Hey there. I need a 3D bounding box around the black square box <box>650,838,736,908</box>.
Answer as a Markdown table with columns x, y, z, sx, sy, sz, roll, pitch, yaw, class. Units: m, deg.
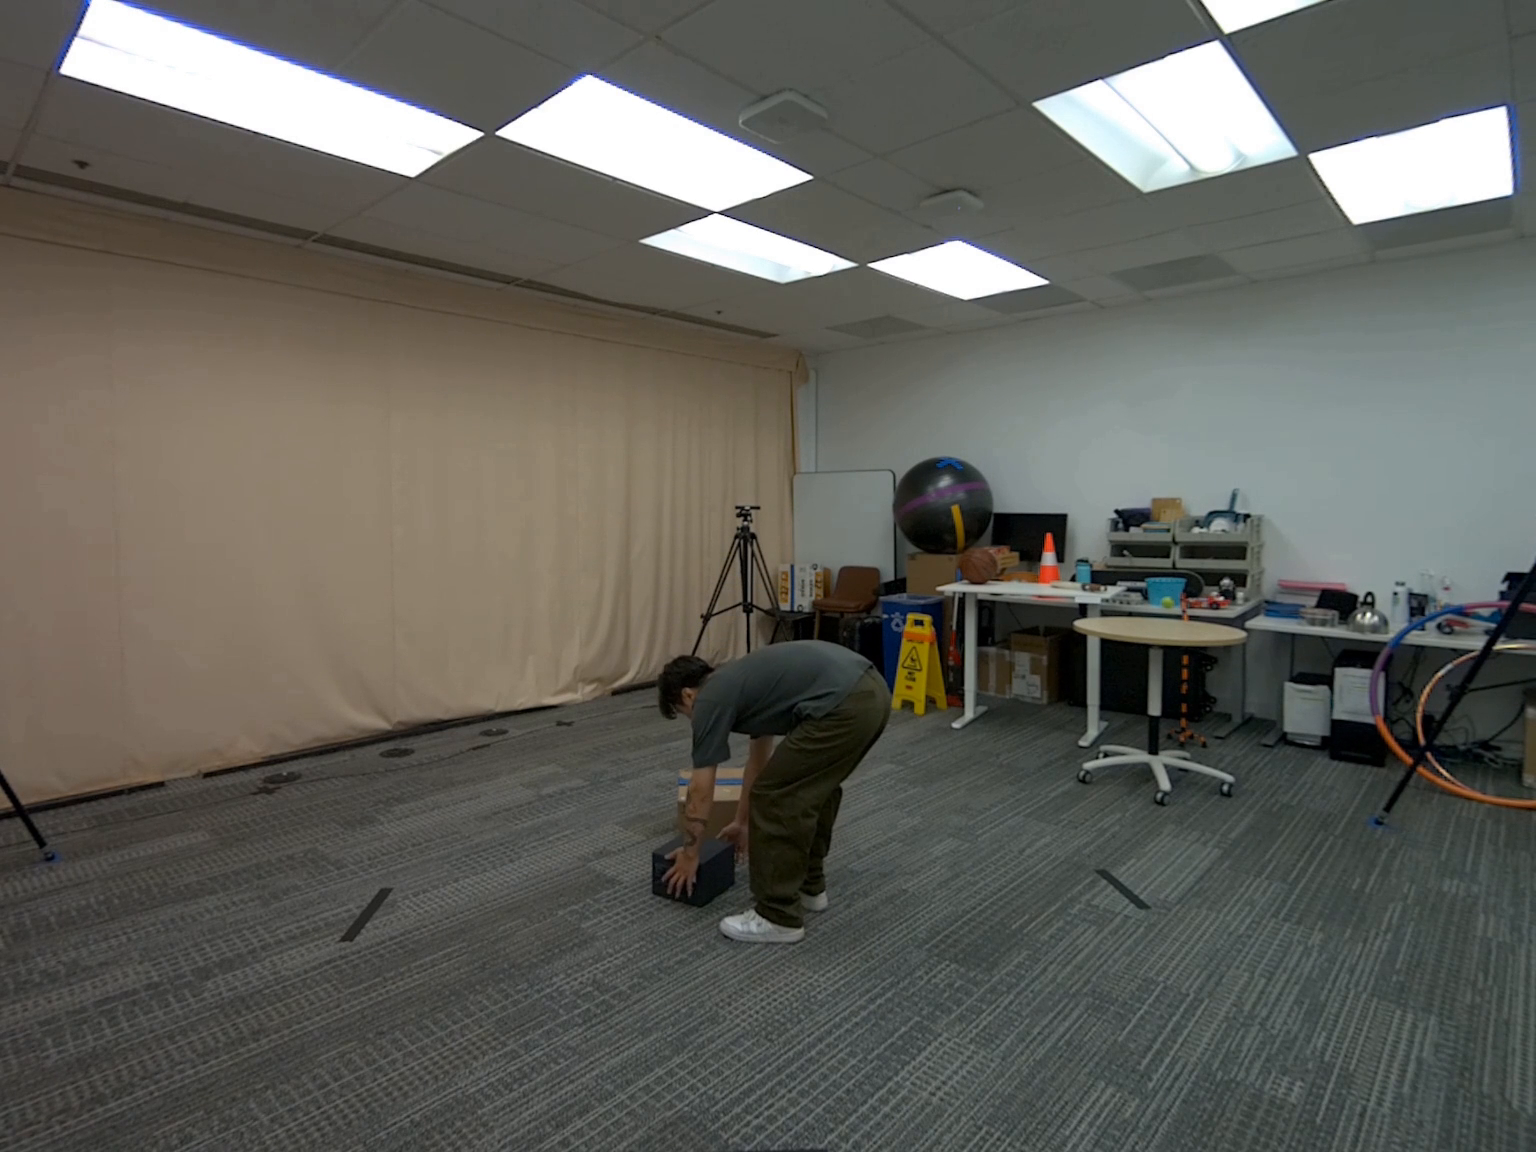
| x | y | z | sx | sy | sz | roll | pitch | yaw | class |
| --- | --- | --- | --- | --- | --- | --- | --- | --- | --- |
| -0.271 | 1.061 | 3.056 | 0.223 | 0.155 | 0.222 | 2 | 5 | 29 | black square box |
